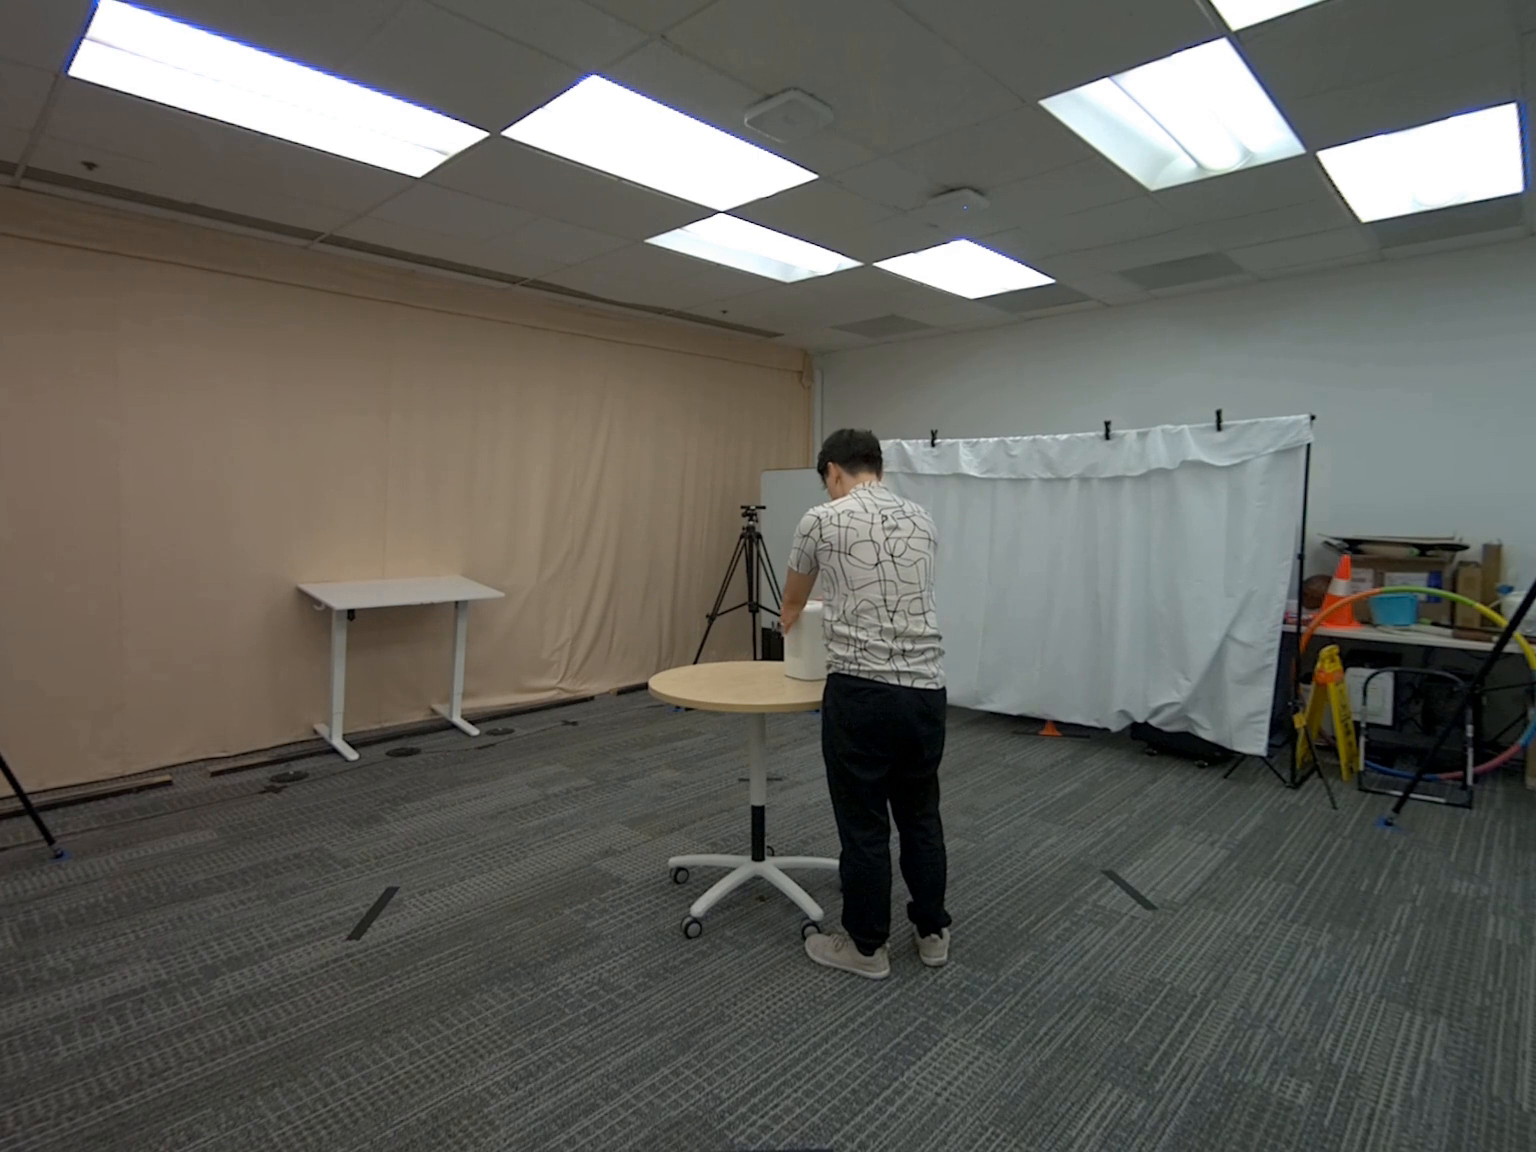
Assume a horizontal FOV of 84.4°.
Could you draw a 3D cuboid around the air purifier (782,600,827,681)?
[{"bbox_3d":[0.160,0.227,3.011,0.166,0.265,0.177,-2,3,-32],"label":"air purifier"}]
